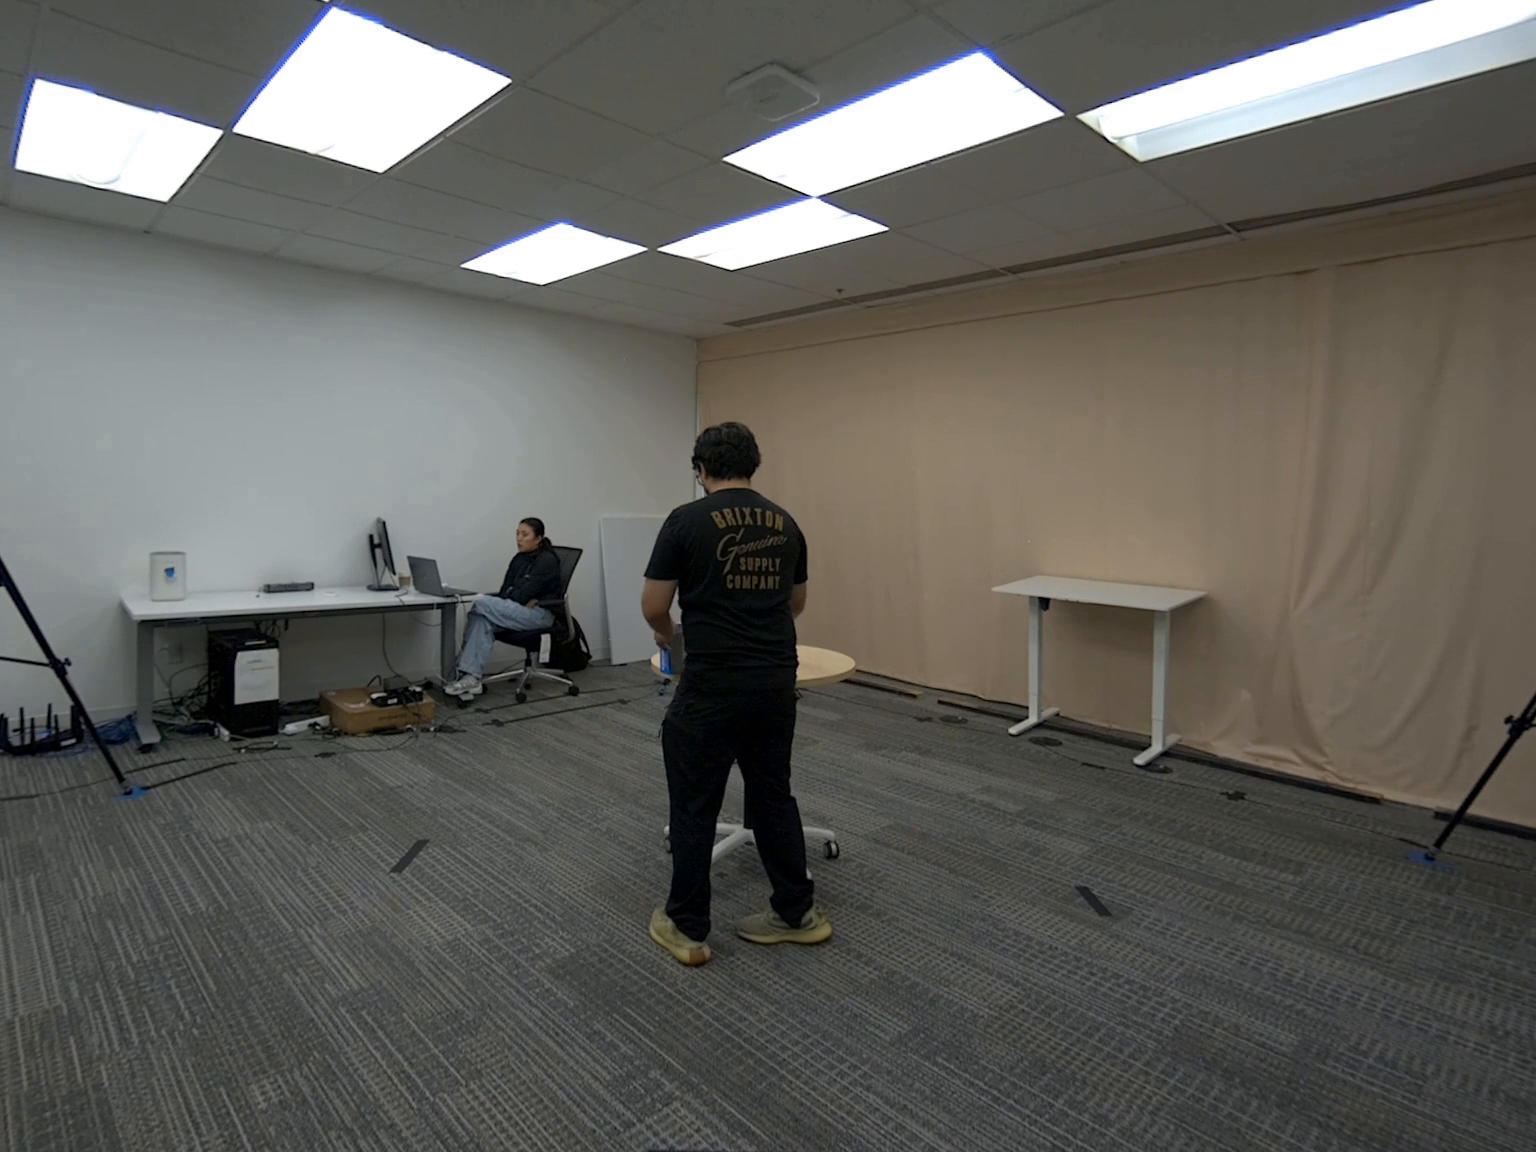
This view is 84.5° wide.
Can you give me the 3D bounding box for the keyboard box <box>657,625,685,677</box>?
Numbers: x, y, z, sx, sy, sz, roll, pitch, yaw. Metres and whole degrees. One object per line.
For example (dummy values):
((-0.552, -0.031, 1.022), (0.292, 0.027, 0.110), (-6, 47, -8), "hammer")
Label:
((-0.189, 0.246, 3.010), (0.427, 0.176, 0.060), (-3, 3, -40), "keyboard box")
